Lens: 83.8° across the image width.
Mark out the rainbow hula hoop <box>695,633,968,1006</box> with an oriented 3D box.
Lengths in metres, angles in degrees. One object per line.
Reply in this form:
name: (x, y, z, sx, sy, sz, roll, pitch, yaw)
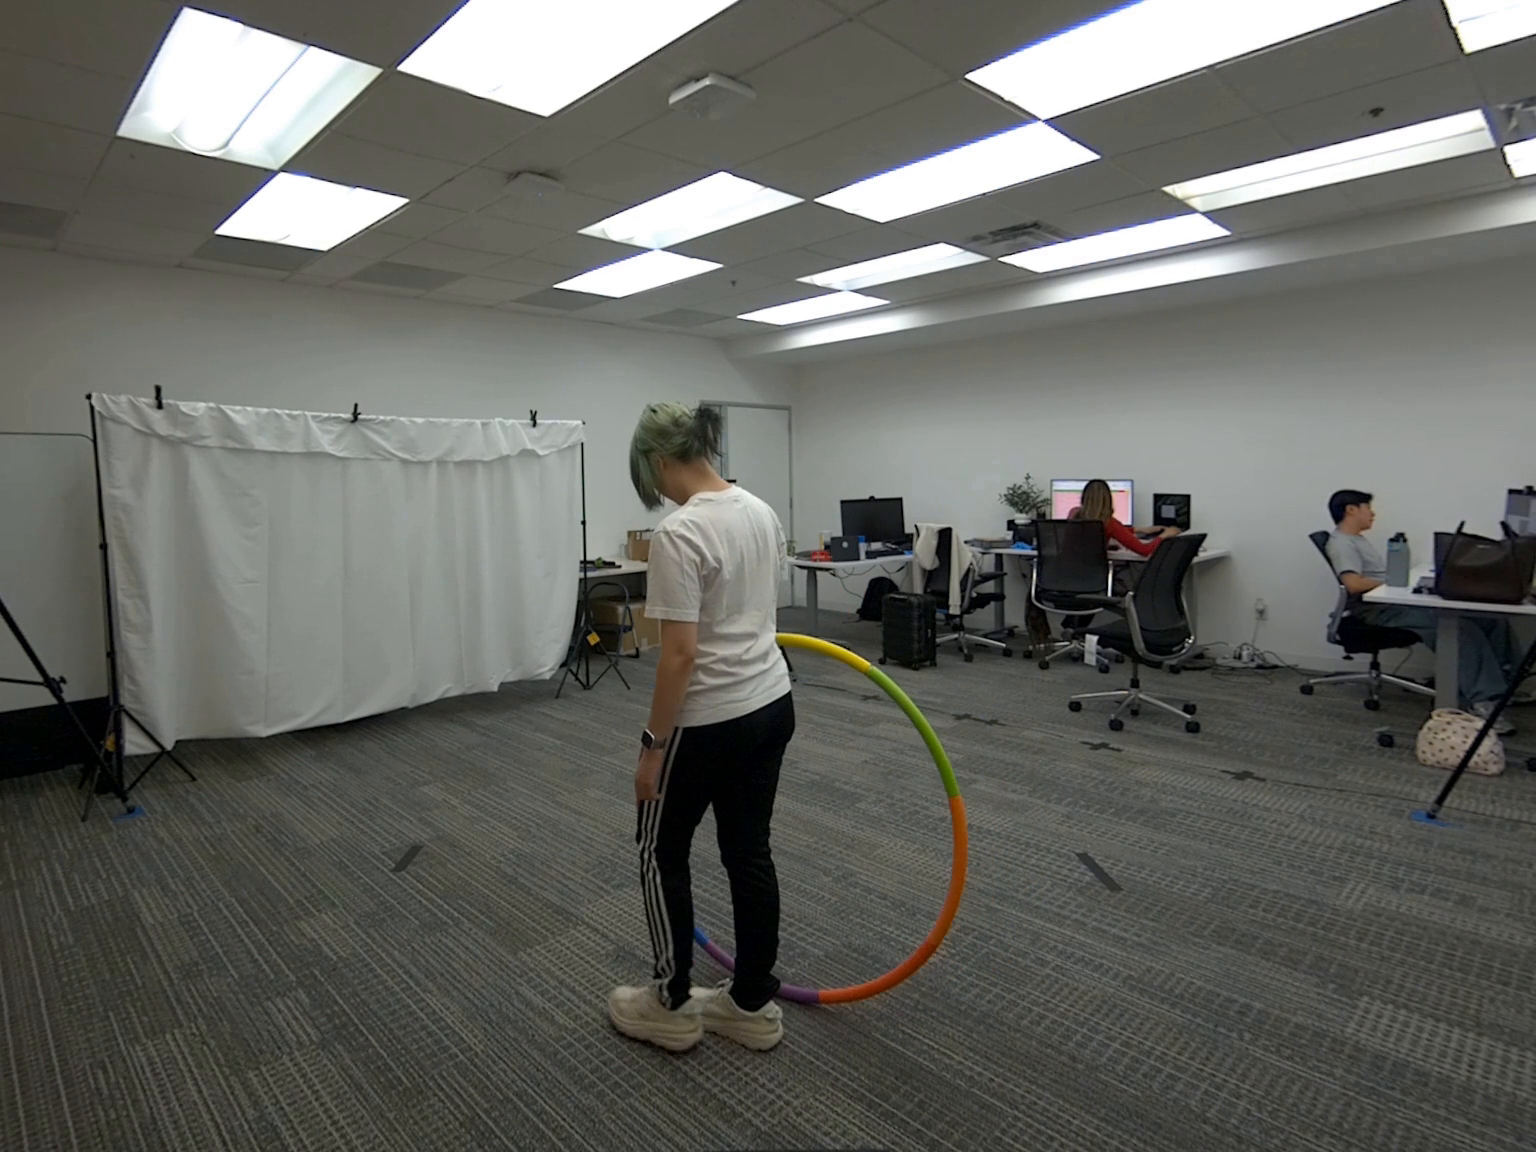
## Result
rainbow hula hoop: (0.048, 0.653, 2.336, 1.004, 0.980, 0.034, 2, -2, 30)
